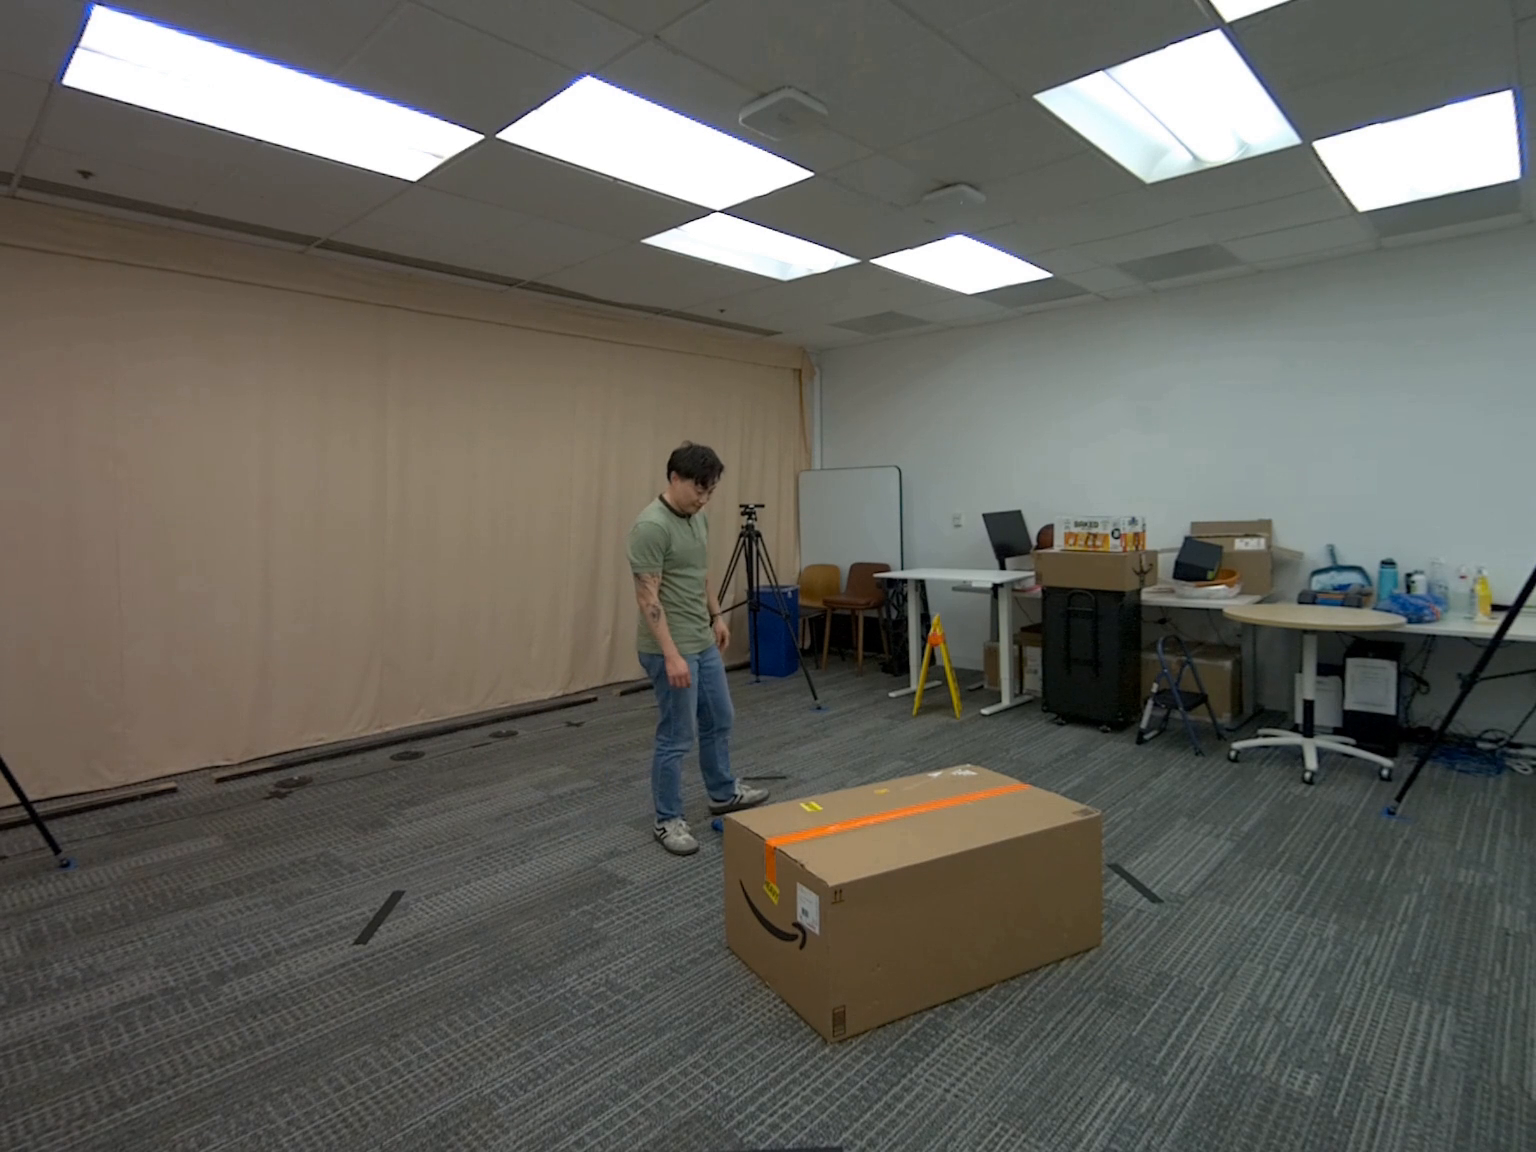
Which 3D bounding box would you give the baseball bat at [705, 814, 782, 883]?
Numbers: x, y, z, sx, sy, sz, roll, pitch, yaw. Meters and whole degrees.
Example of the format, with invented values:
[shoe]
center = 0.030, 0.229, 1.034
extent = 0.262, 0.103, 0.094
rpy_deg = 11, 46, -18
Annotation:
[baseball bat]
center = -0.111, 1.070, 3.368
extent = 0.087, 0.089, 0.555
rpy_deg = -2, 2, -24
